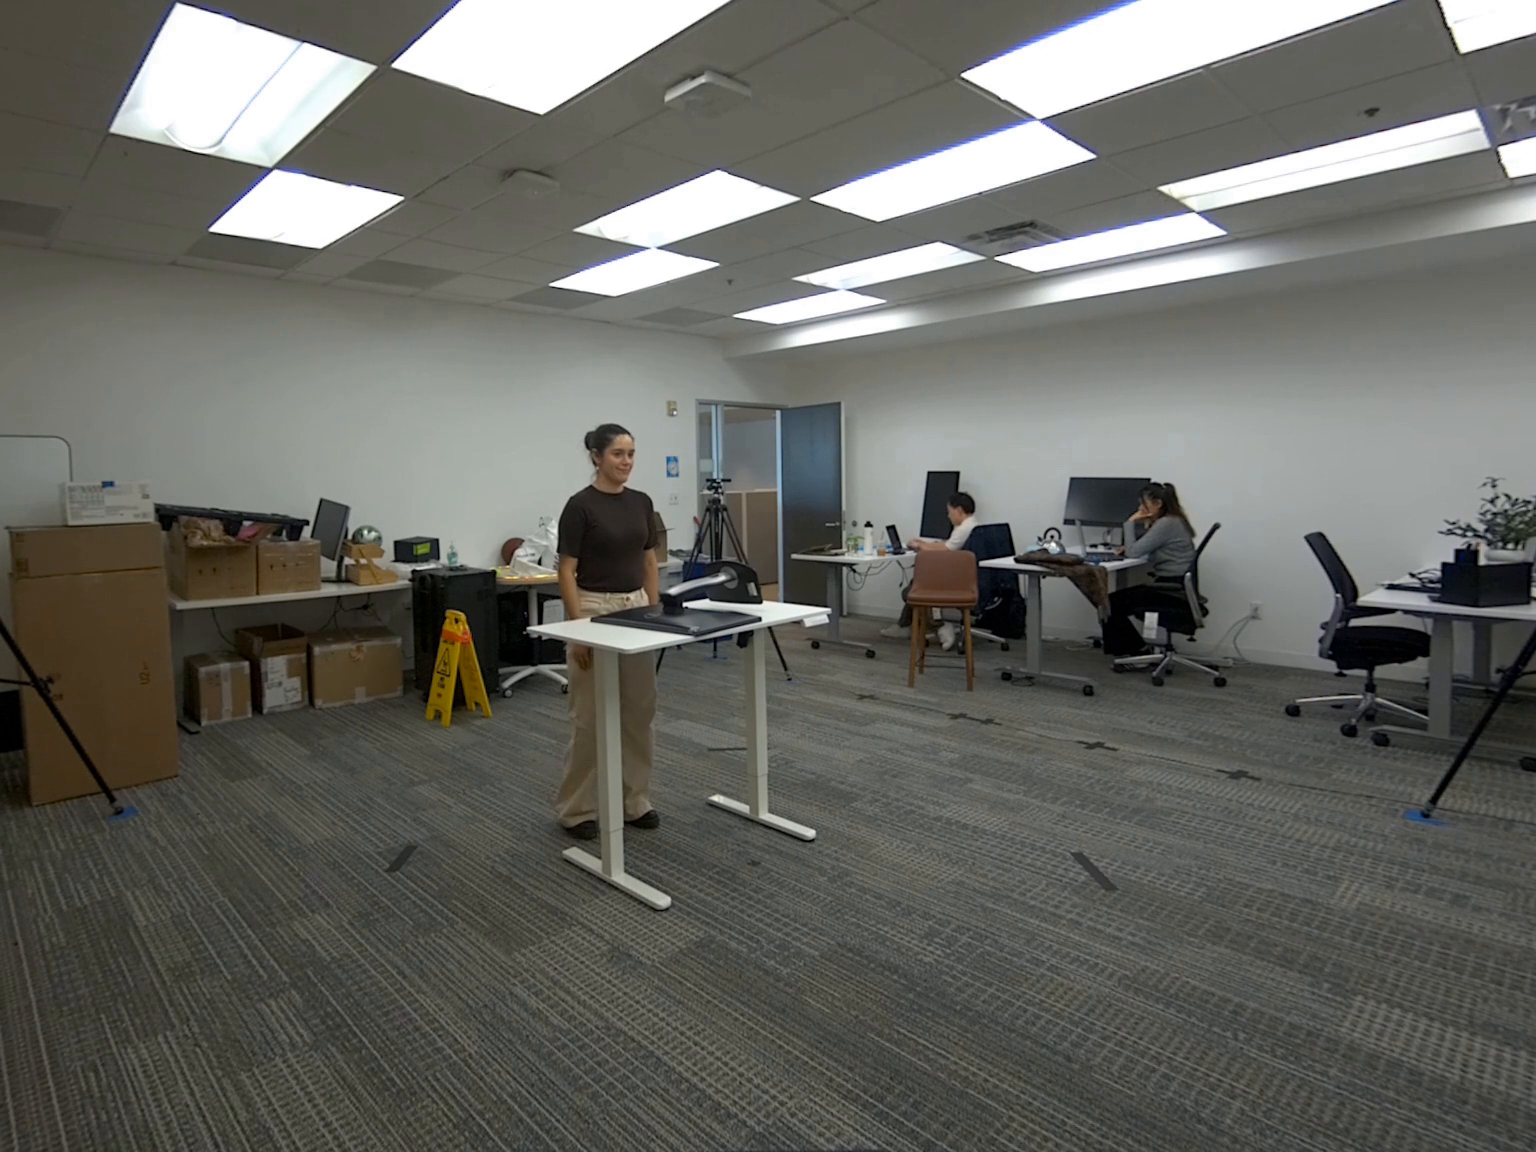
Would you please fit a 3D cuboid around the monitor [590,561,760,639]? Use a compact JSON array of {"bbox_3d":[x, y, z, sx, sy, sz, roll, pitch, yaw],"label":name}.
[{"bbox_3d":[-0.284,0.105,3.167,0.555,0.184,0.515,1,19,41],"label":"monitor"}]
